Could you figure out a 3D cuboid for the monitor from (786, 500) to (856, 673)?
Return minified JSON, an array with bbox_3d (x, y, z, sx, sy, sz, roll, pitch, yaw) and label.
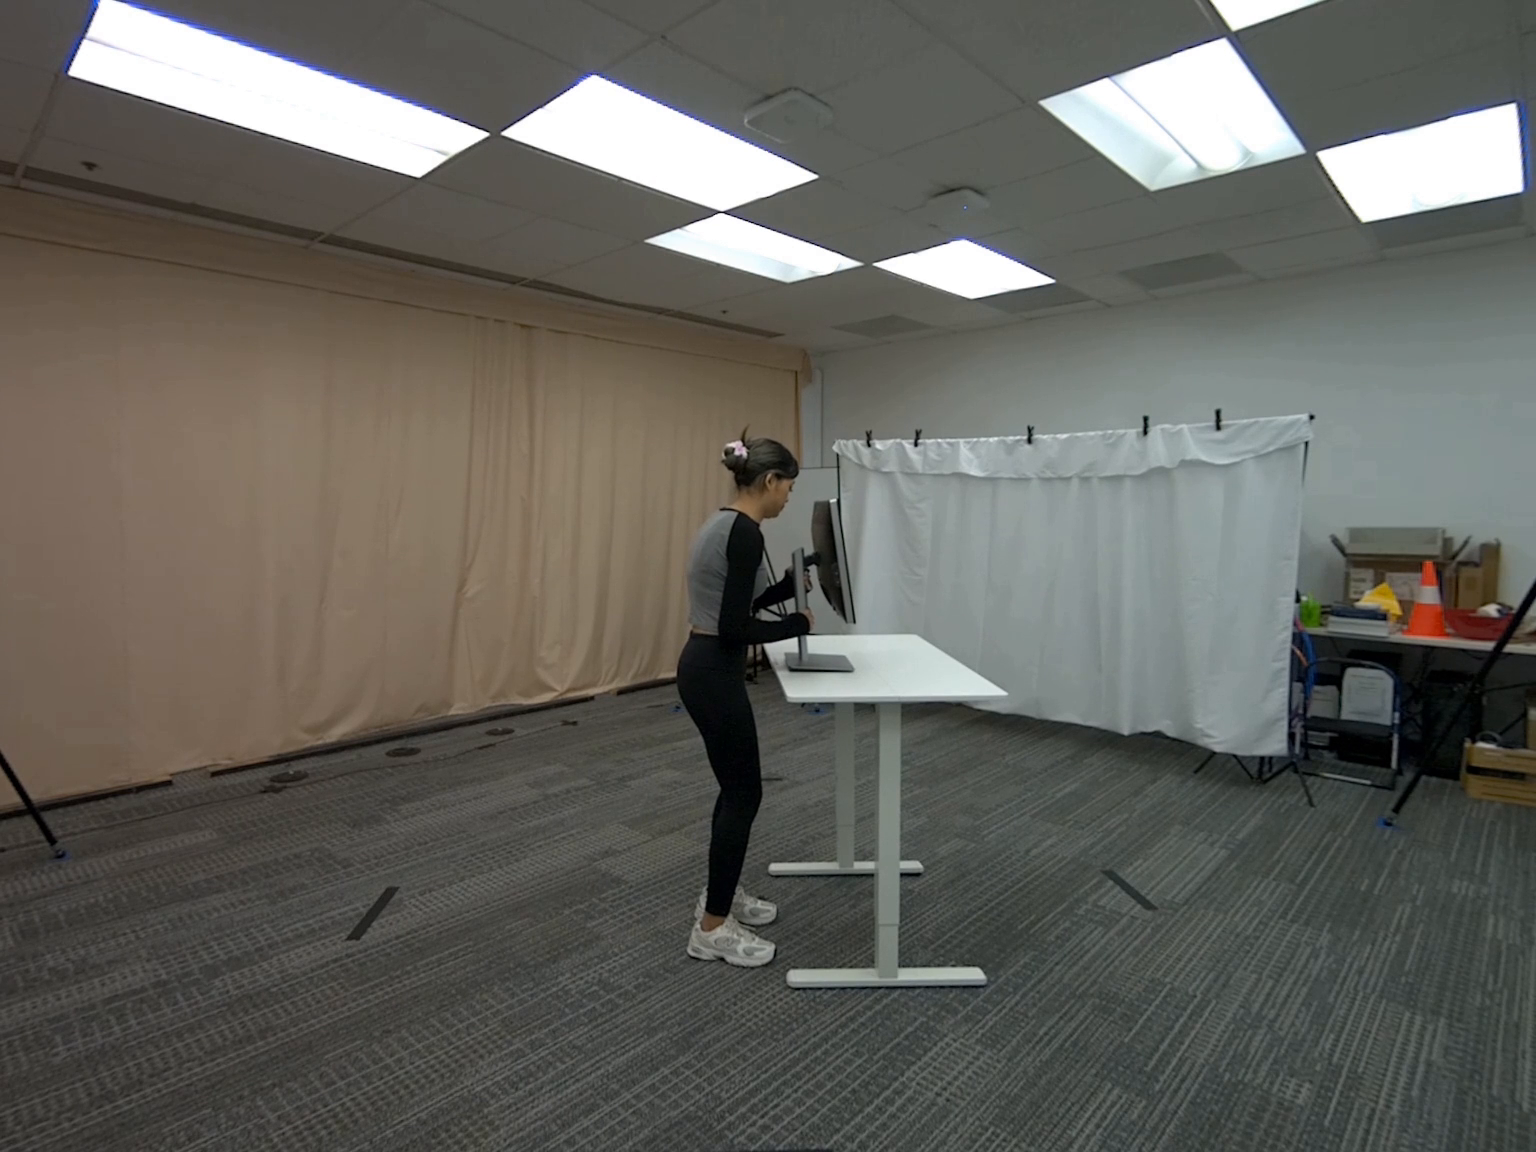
[{"bbox_3d":[0.170,0.031,2.680,0.187,0.521,0.542,3,5,-4],"label":"monitor"}]
